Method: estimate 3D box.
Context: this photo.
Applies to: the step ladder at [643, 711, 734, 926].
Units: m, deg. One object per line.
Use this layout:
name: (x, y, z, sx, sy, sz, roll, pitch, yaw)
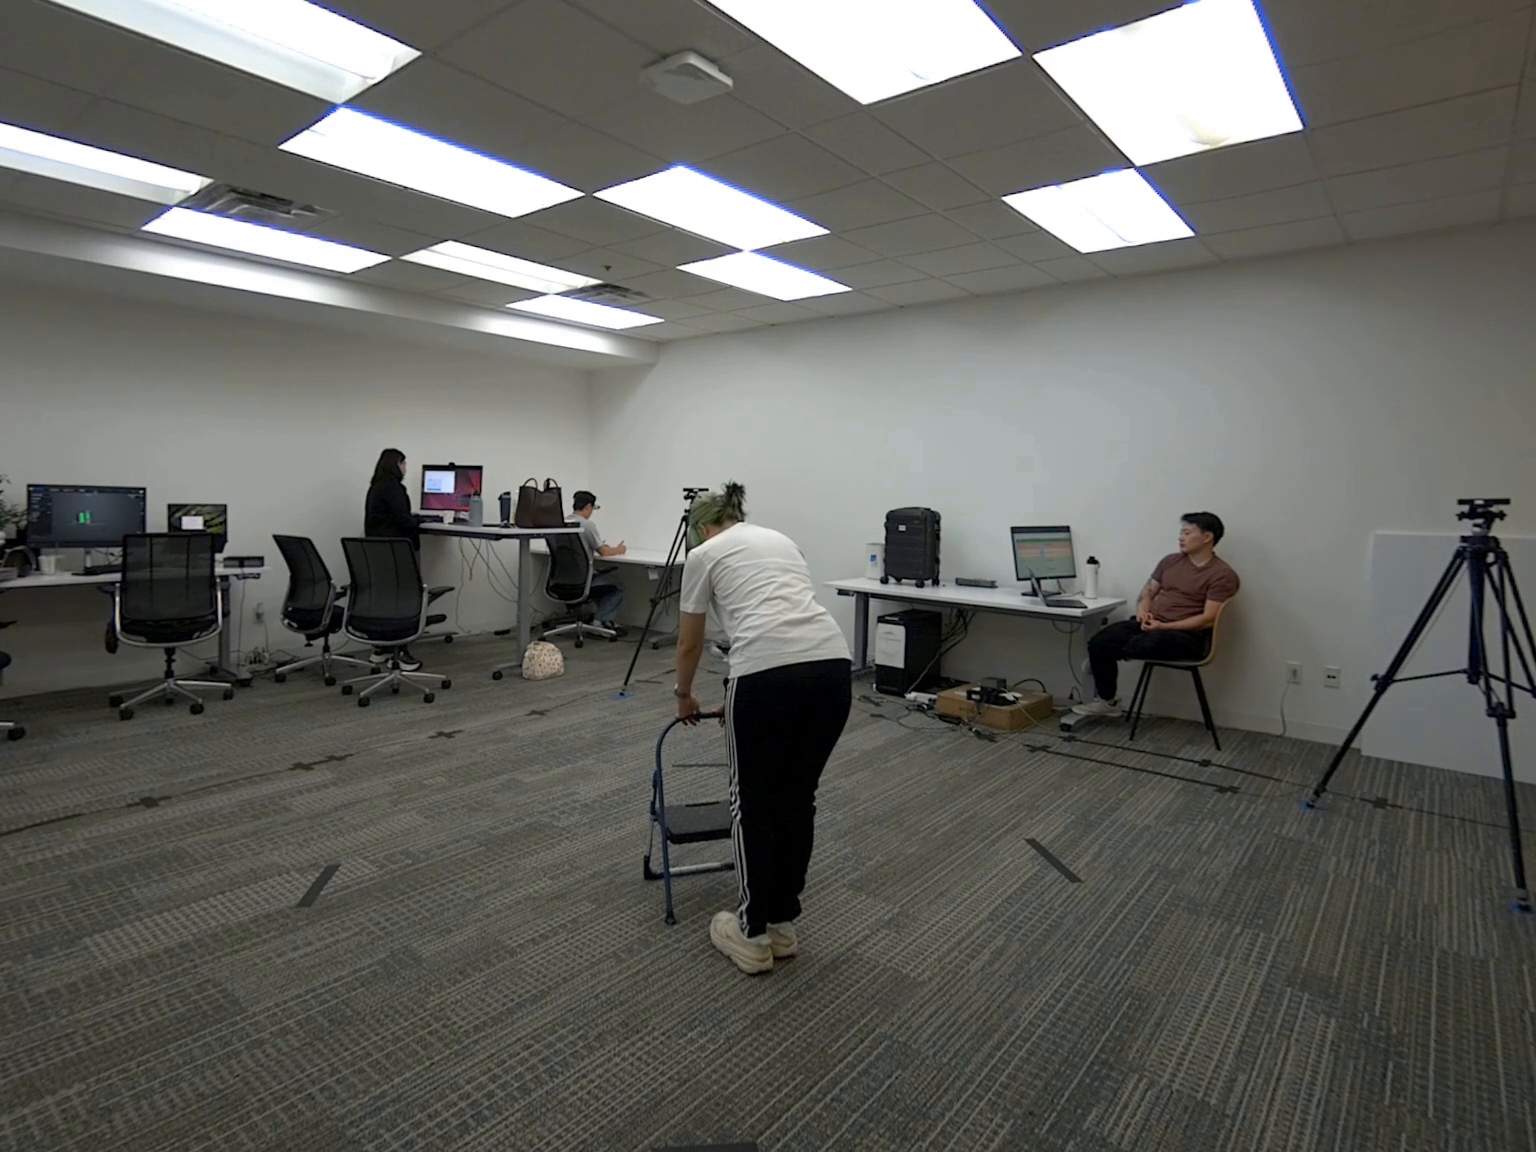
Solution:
step ladder: (-0.194, 0.788, 2.919, 0.422, 0.604, 0.358, 0, 4, -21)
